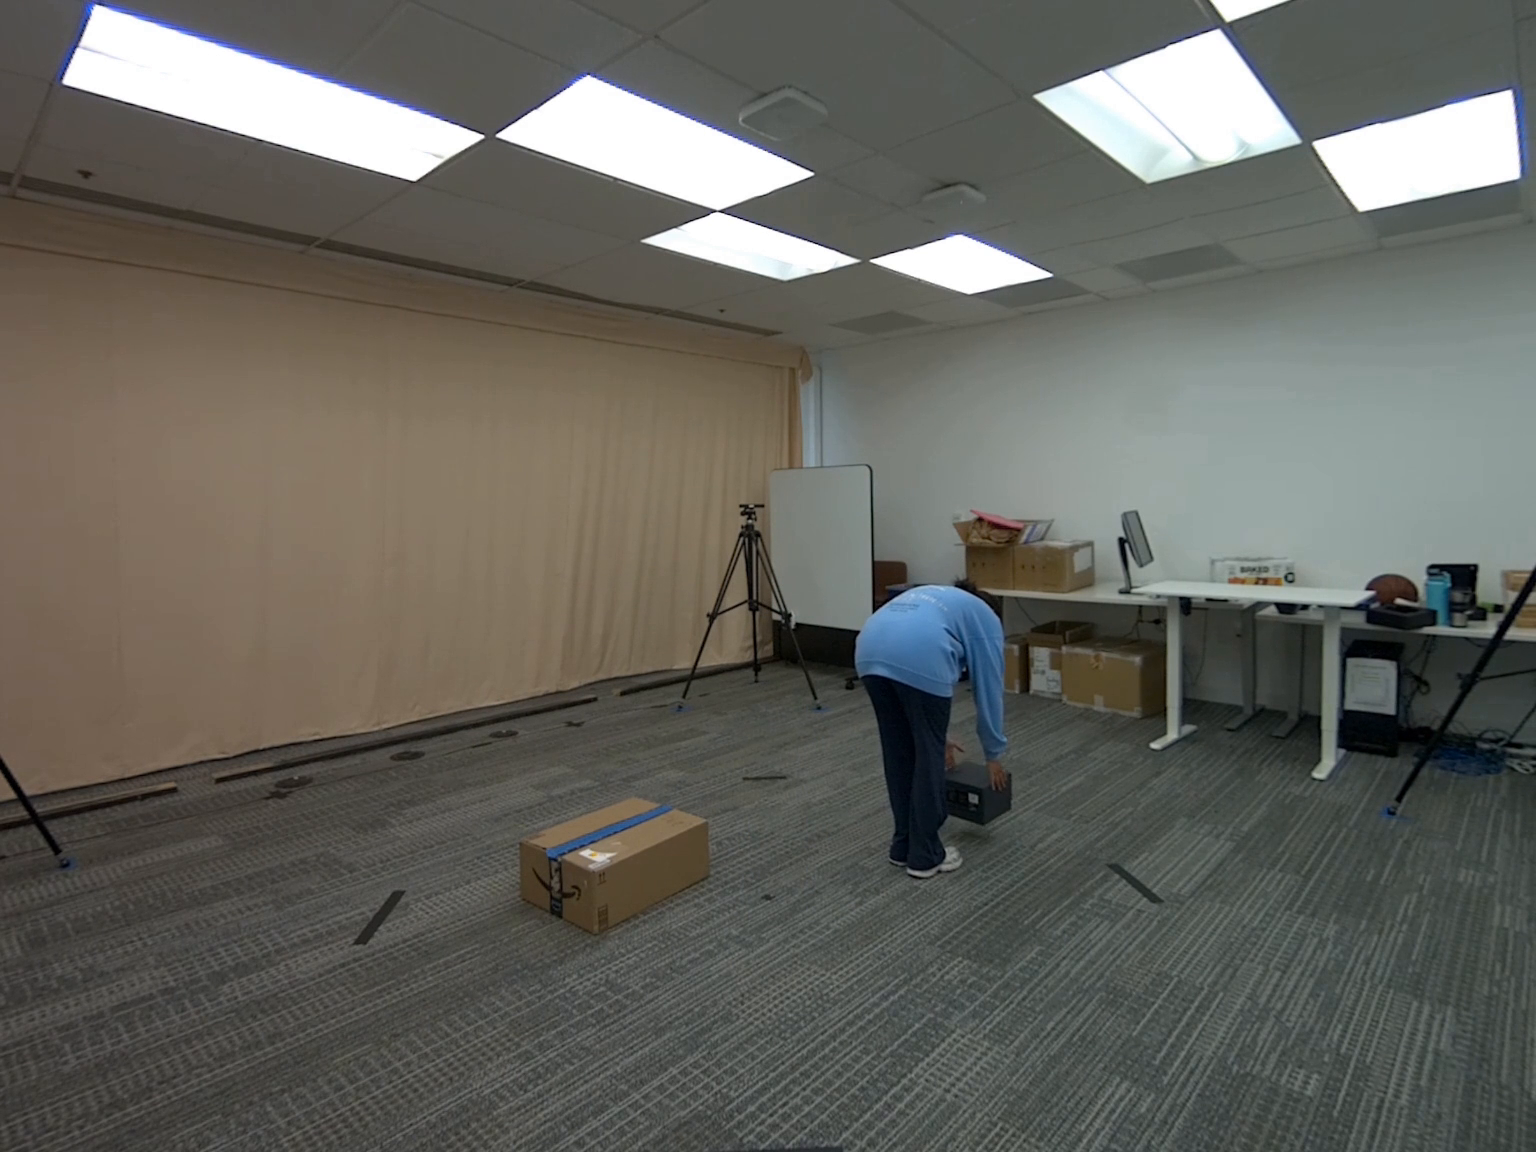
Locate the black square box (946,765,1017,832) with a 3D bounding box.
[{"bbox_3d":[0.857,0.901,3.460,0.224,0.155,0.221,4,9,44],"label":"black square box"}]
